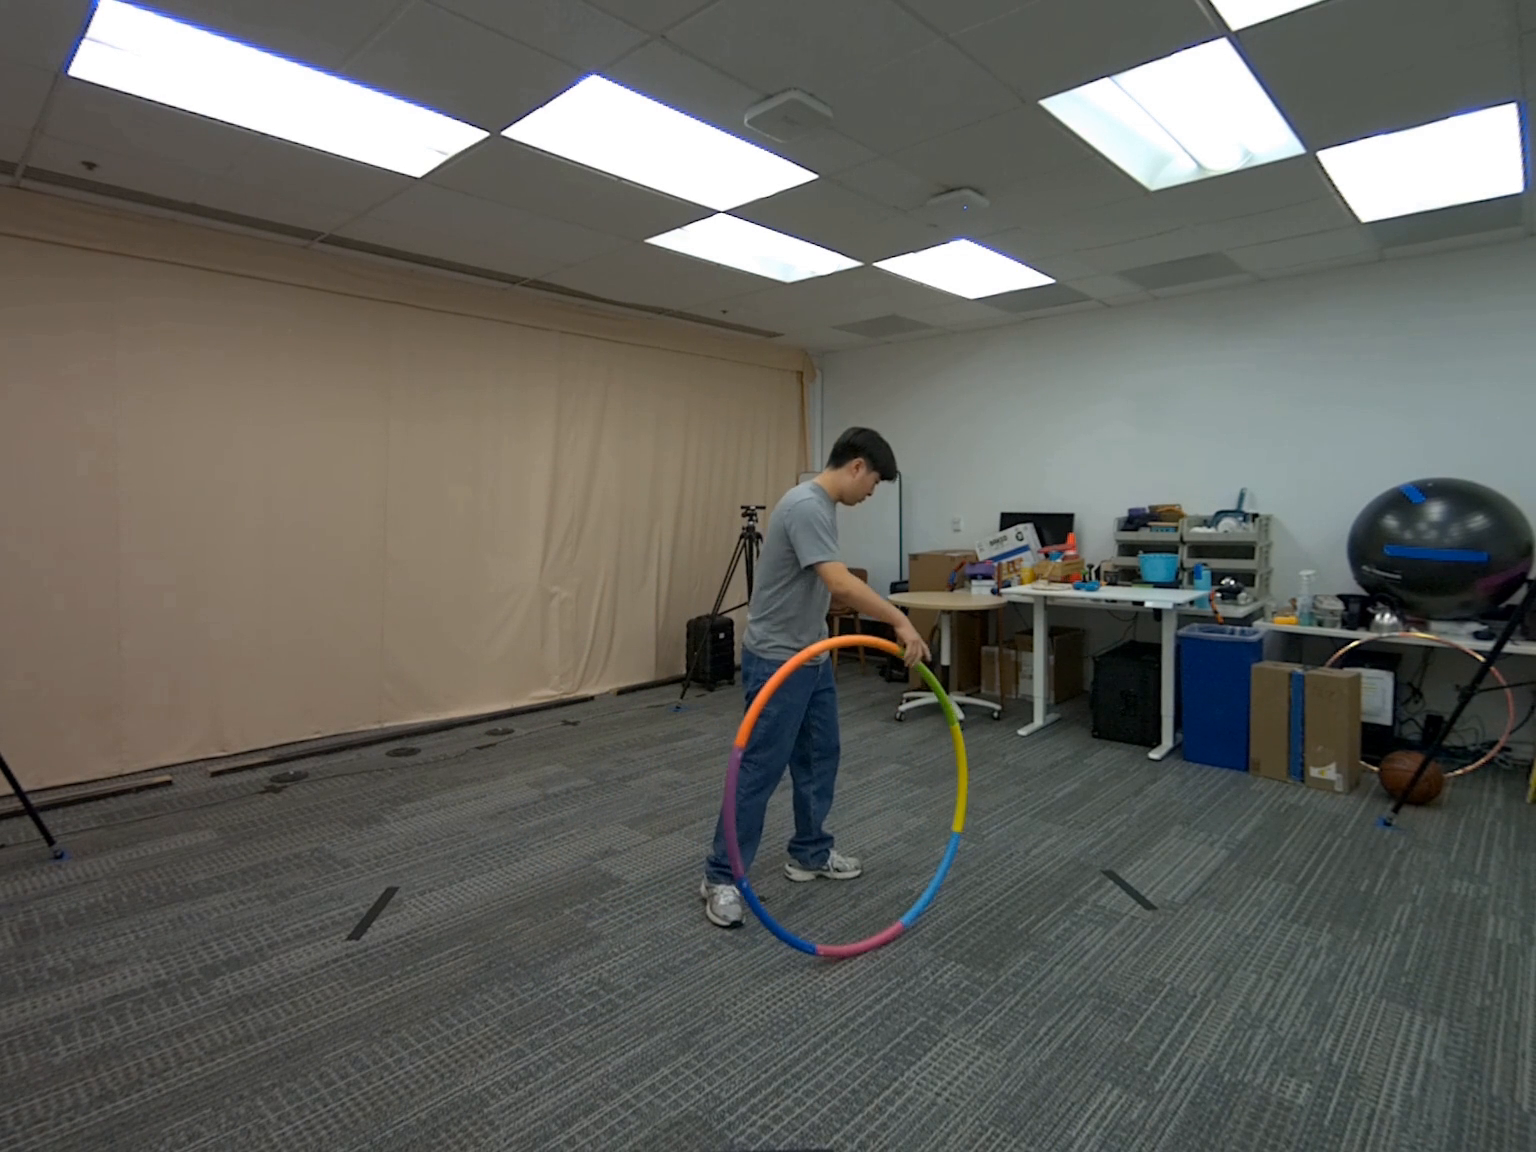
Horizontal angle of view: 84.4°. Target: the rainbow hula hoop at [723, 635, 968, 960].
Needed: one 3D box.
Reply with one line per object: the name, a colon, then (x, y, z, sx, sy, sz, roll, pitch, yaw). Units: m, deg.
rainbow hula hoop: (0.284, 0.686, 2.650, 0.951, 0.979, 0.036, -3, -2, -33)
